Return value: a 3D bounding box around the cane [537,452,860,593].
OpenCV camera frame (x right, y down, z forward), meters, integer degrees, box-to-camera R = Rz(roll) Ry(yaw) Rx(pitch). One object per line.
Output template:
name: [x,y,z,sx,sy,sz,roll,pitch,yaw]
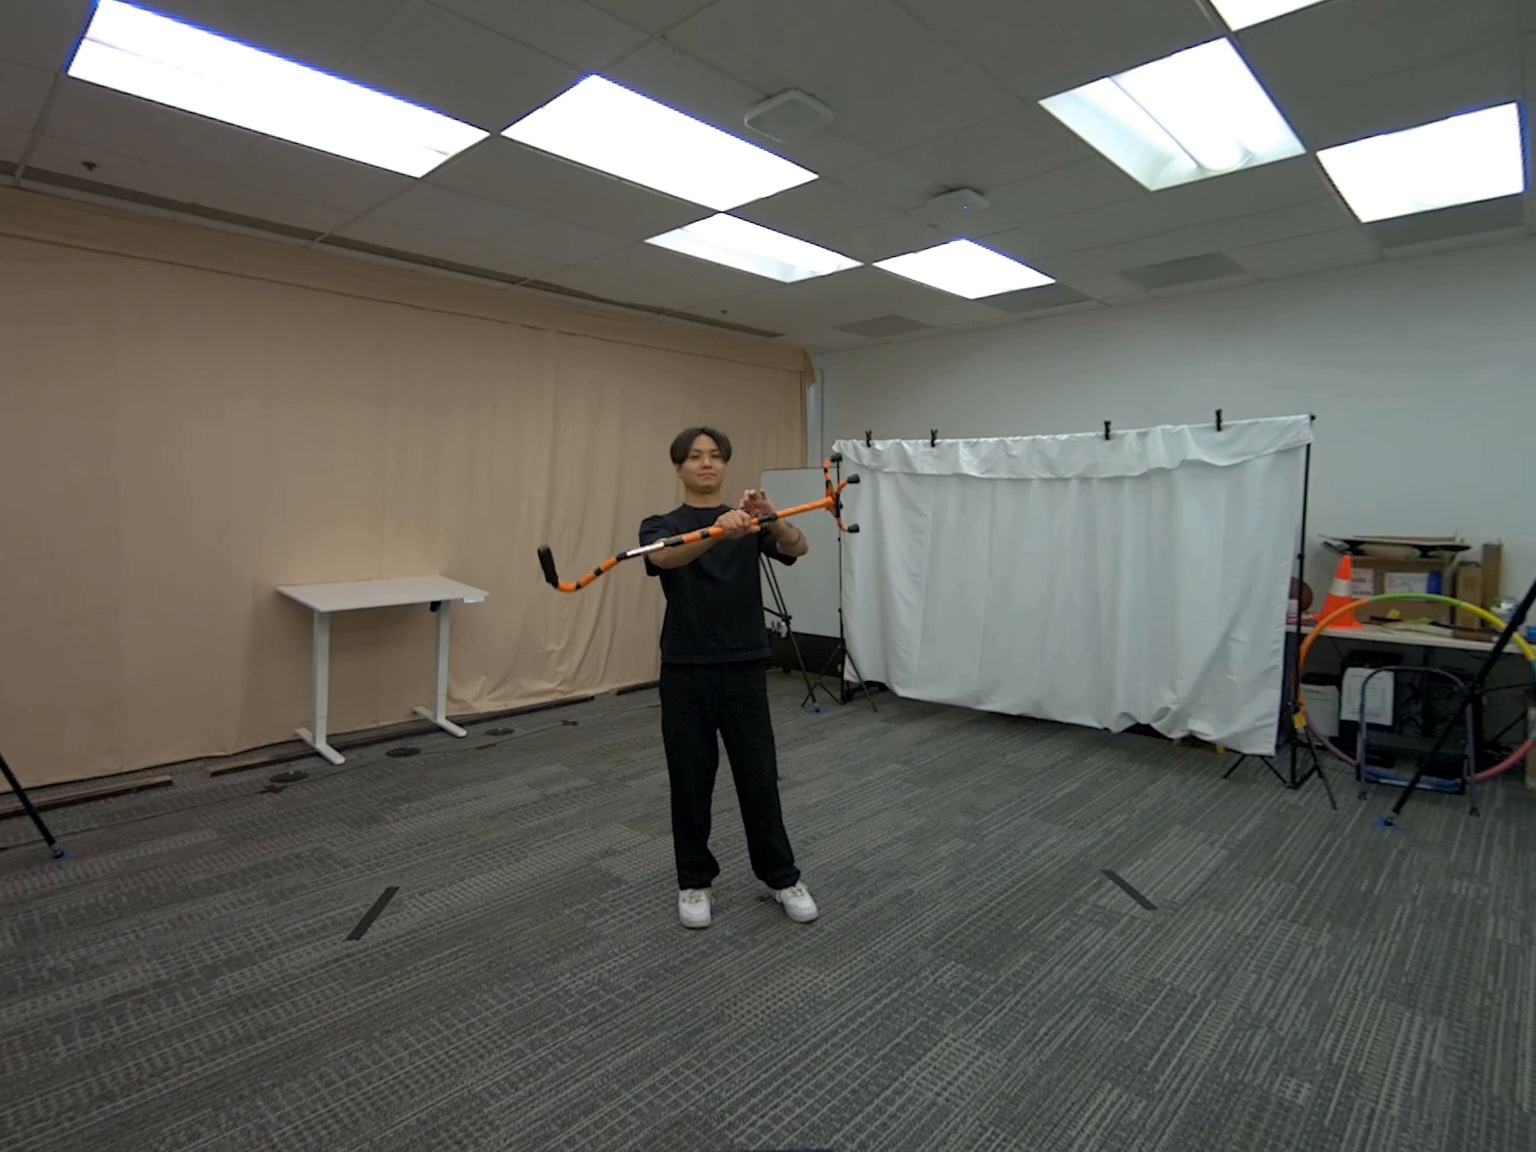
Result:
cane: [-0.179,-0.115,2.398,0.901,0.201,0.156,-17,40,-8]
